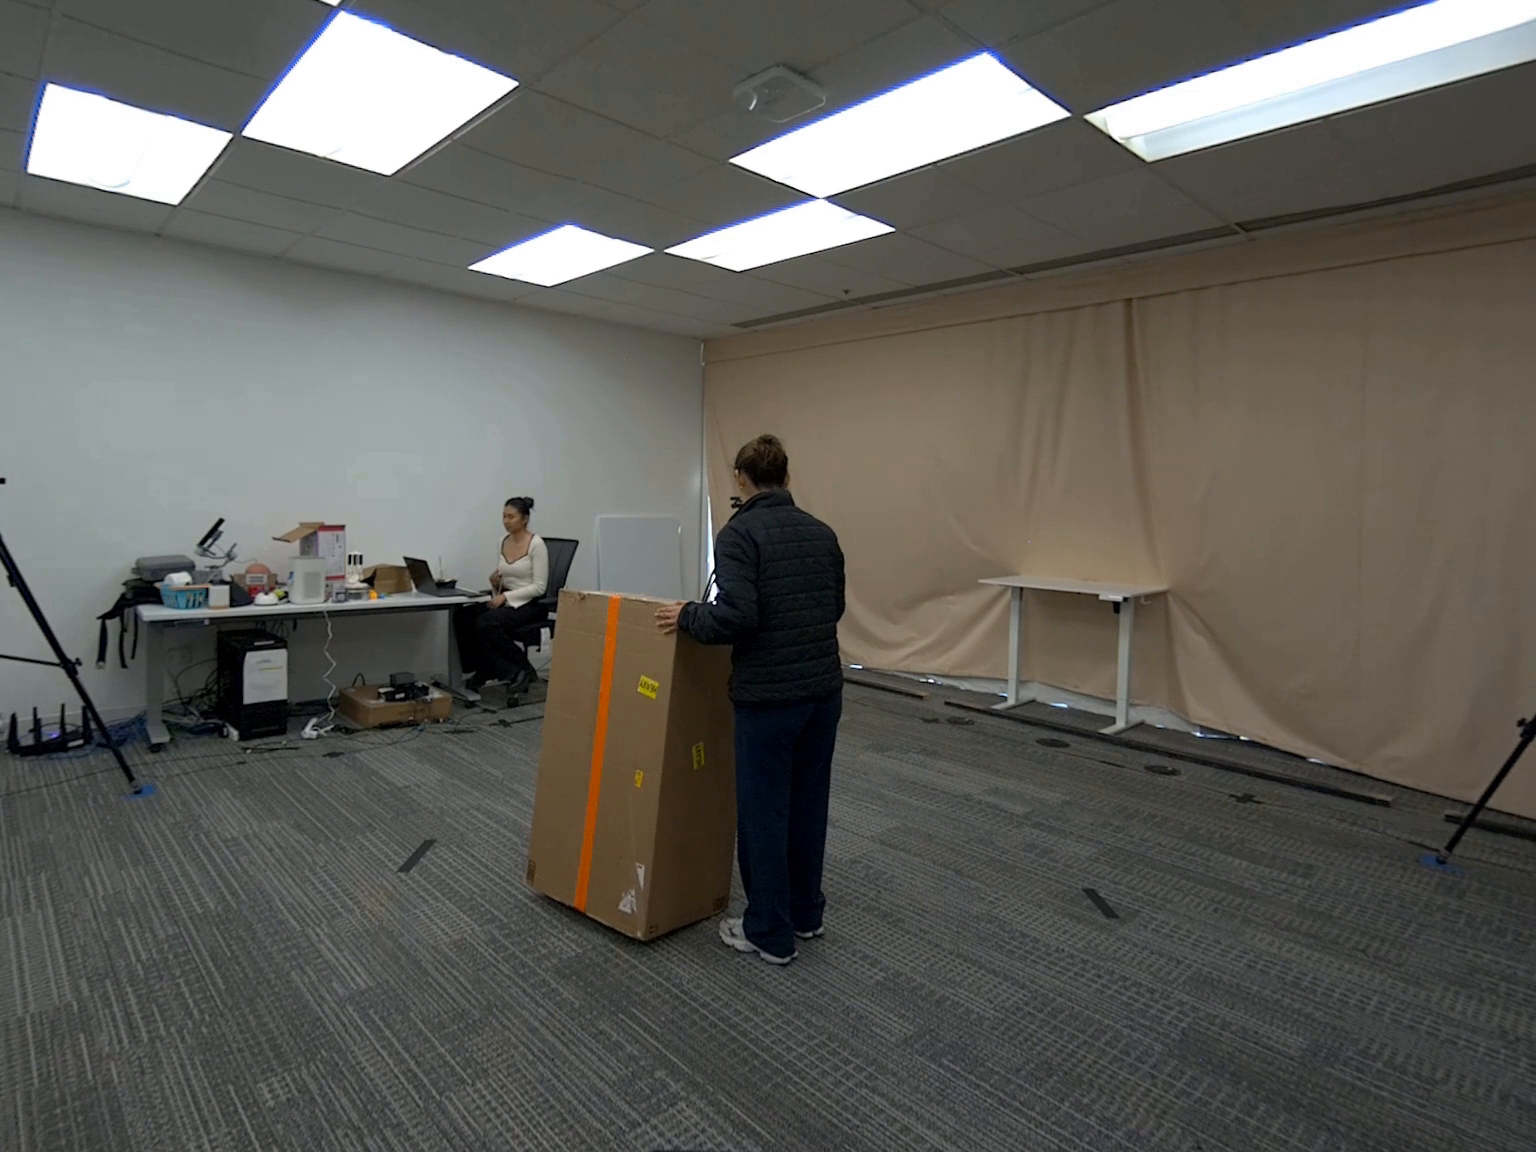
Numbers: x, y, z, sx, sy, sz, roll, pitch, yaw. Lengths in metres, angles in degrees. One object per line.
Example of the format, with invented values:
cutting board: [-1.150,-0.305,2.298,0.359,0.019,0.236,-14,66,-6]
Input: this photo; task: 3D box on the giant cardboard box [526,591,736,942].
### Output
giant cardboard box: [-0.434,0.591,2.889,0.592,1.028,0.415,4,-3,37]
